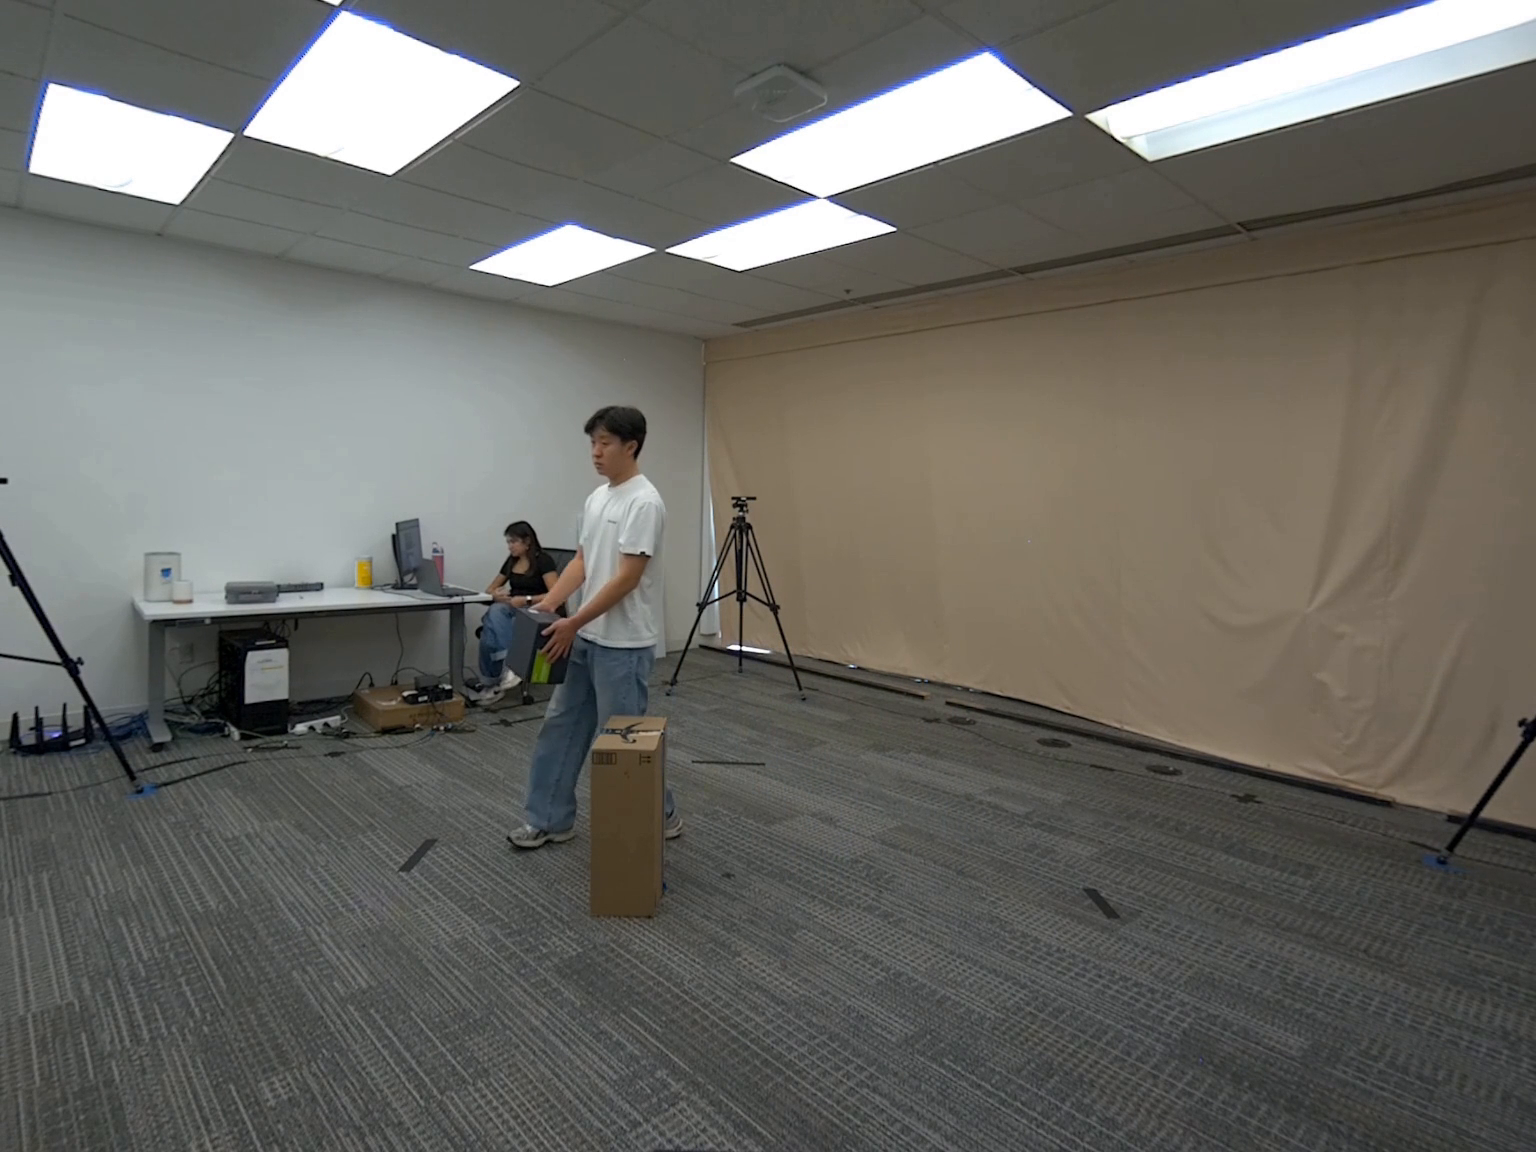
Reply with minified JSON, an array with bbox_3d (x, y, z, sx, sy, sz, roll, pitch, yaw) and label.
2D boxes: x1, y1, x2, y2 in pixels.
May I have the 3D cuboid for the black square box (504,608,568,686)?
[{"bbox_3d":[-0.856,0.263,3.178,0.152,0.227,0.223,10,5,-37],"label":"black square box"}]
